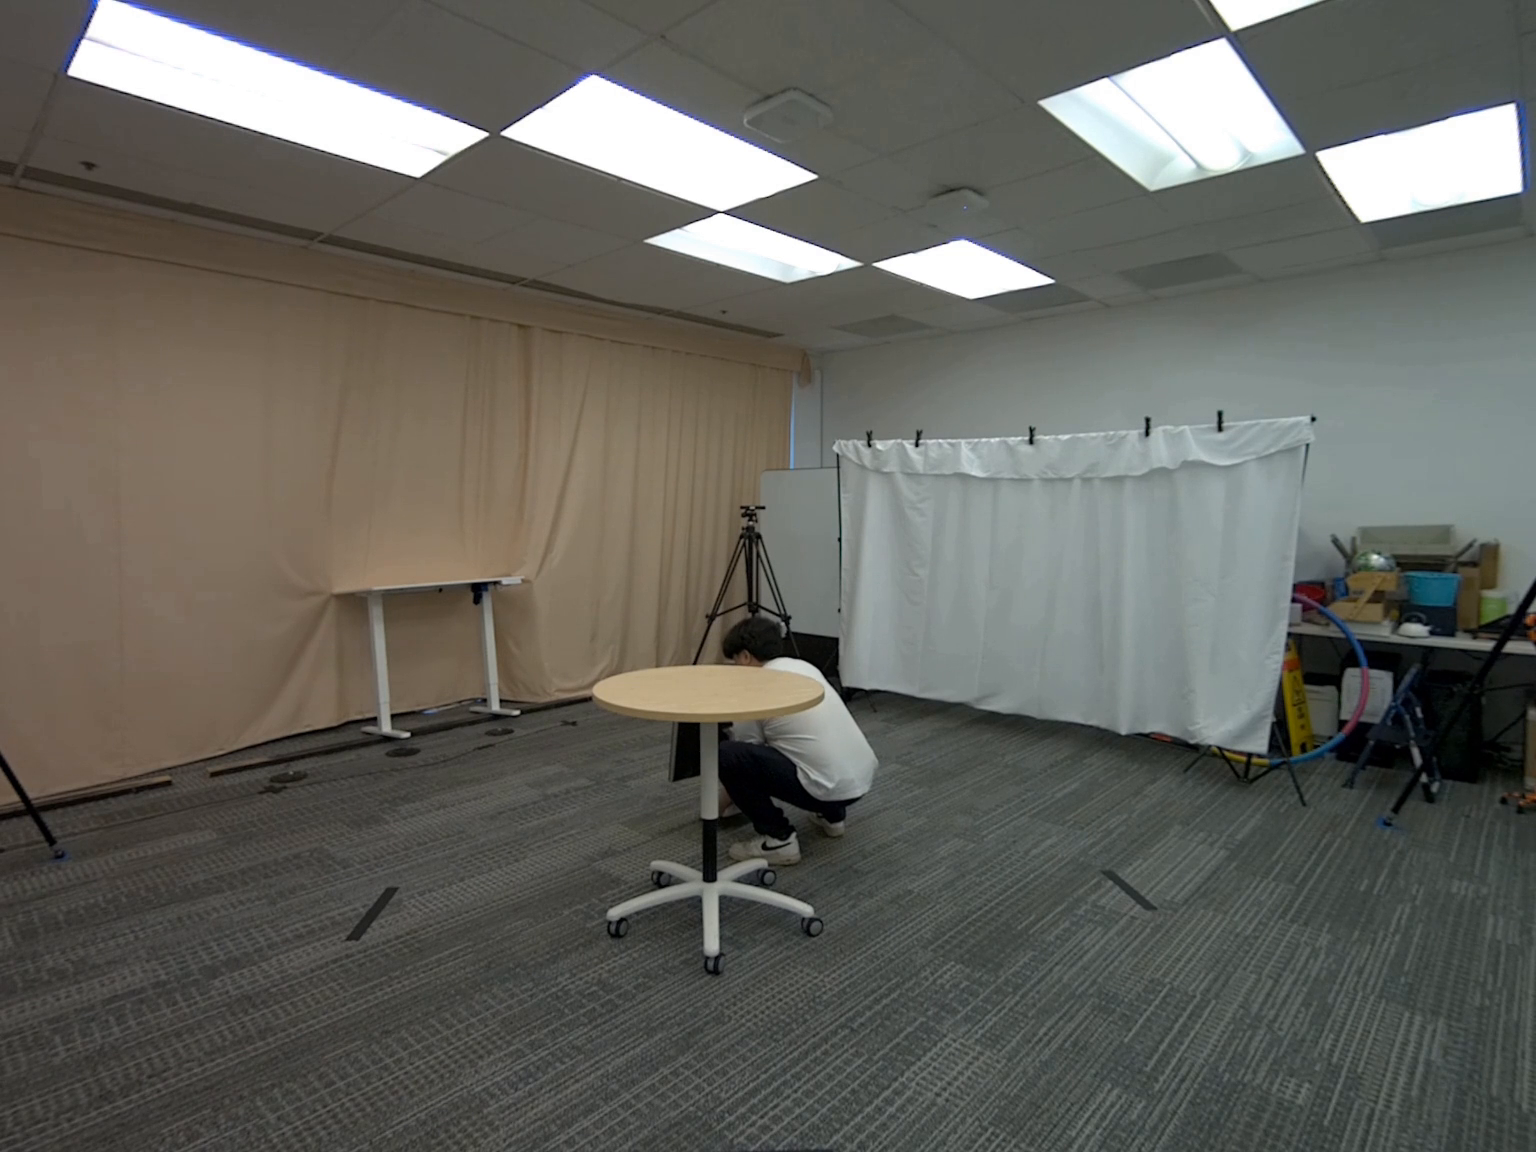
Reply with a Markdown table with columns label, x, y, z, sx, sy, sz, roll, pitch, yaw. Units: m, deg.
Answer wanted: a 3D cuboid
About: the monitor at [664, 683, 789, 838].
| label | x | y | z | sx | sy | sz | roll | pitch | yaw |
| --- | --- | --- | --- | --- | --- | --- | --- | --- | --- |
| monitor | -0.178 | 0.790 | 3.752 | 0.217 | 0.554 | 0.547 | 0 | -1 | 43 |
